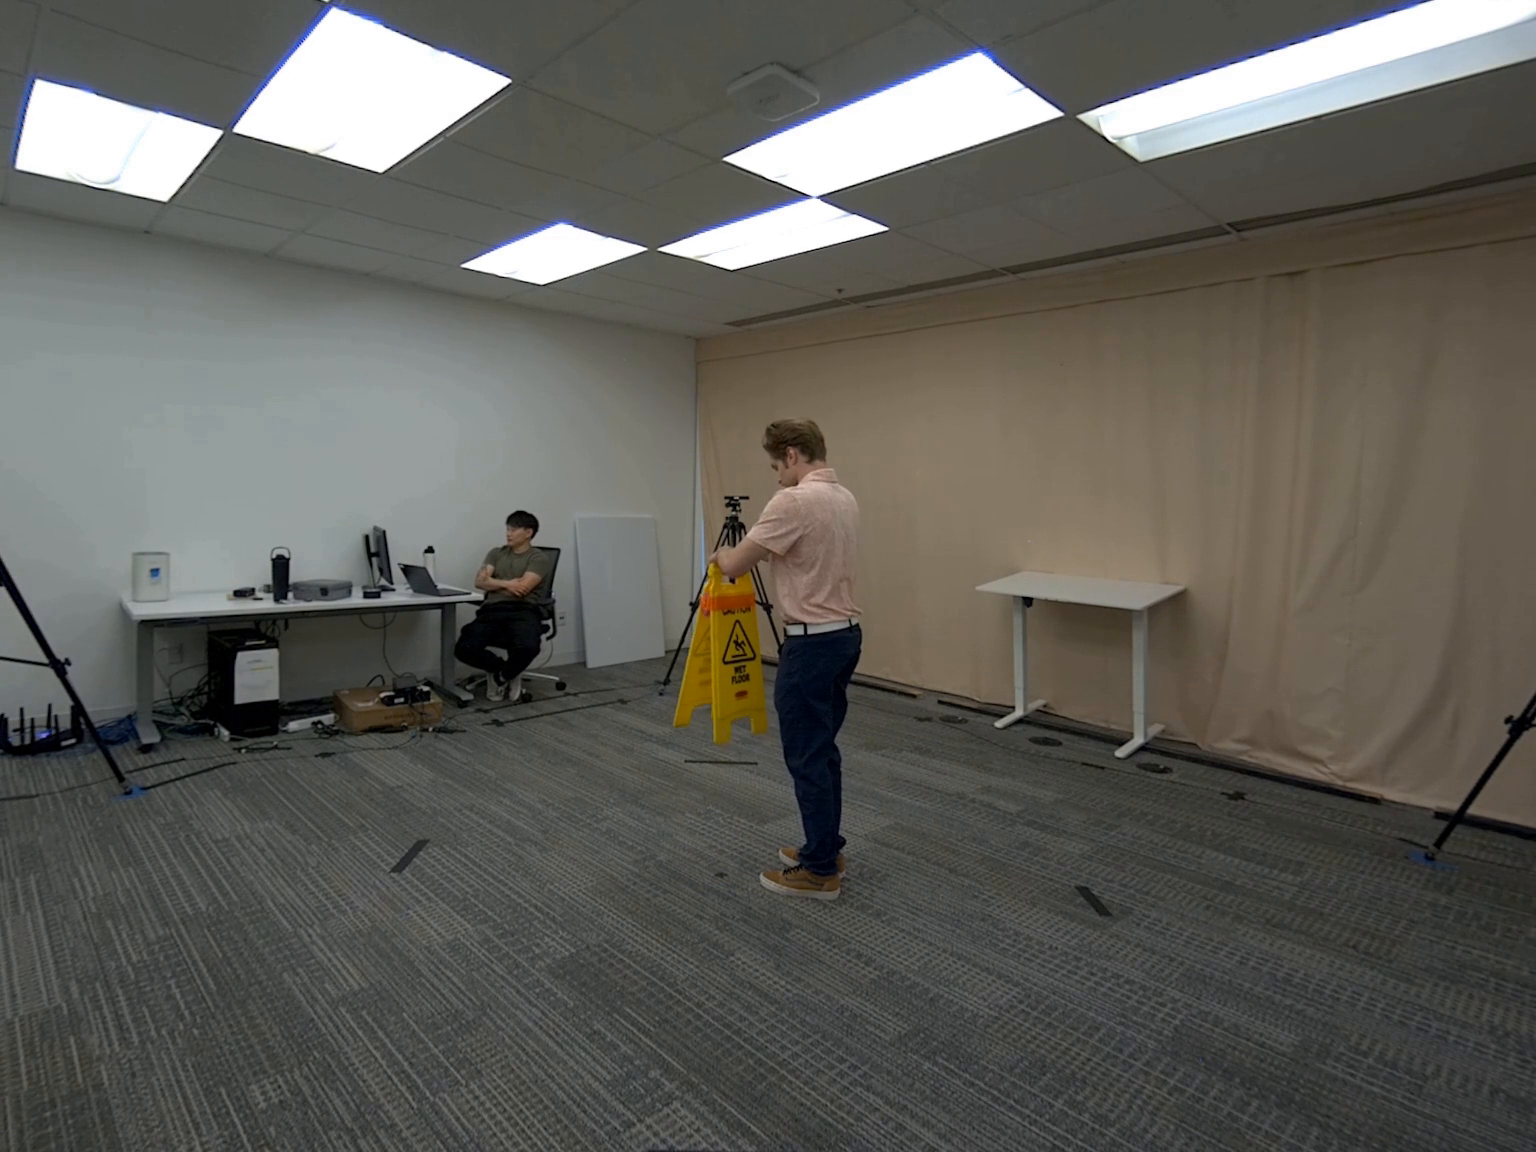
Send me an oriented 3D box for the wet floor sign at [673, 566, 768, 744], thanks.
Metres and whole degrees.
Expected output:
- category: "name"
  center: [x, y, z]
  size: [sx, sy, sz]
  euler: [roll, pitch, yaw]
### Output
- category: "wet floor sign"
  center: [-0.170, 0.283, 3.211]
  size: [0.297, 0.644, 0.276]
  euler: [7, 6, 43]
